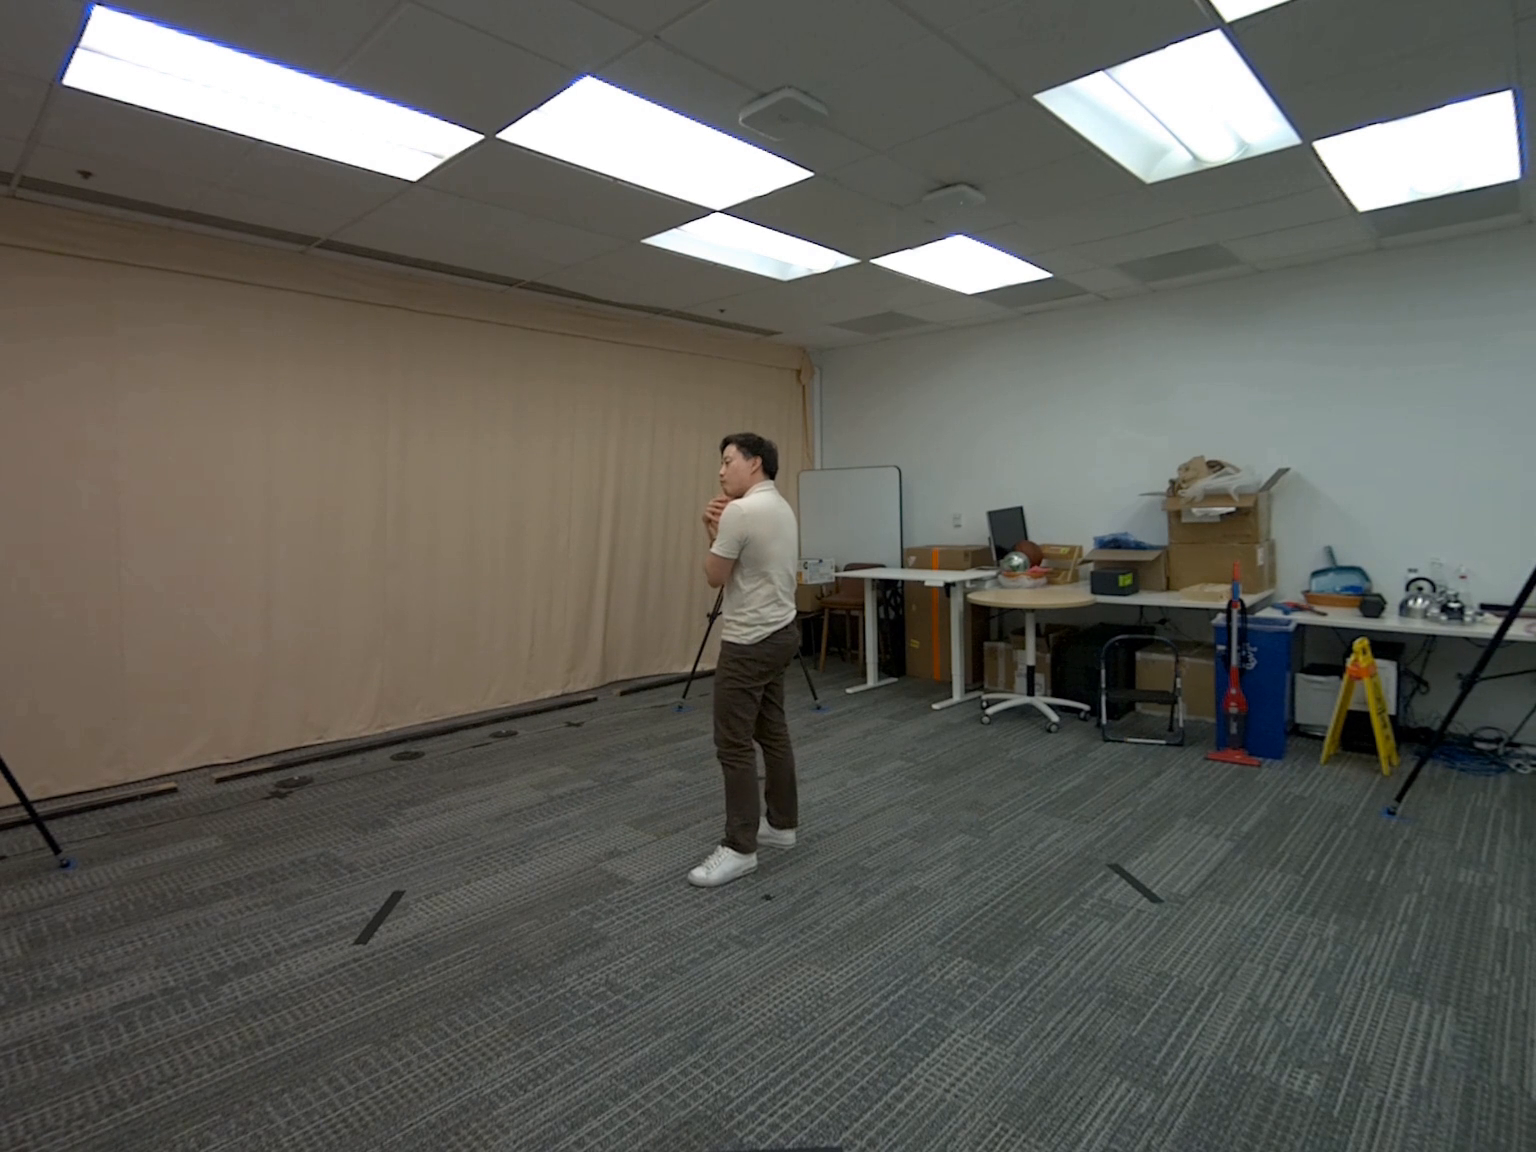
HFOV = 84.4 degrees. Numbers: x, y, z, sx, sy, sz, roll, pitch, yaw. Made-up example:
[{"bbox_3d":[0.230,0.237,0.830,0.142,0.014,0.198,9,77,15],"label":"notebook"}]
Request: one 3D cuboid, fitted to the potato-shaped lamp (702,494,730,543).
[{"bbox_3d":[-0.150,-0.278,3.460,0.176,0.198,0.160,43,19,25],"label":"potato-shaped lamp"}]
